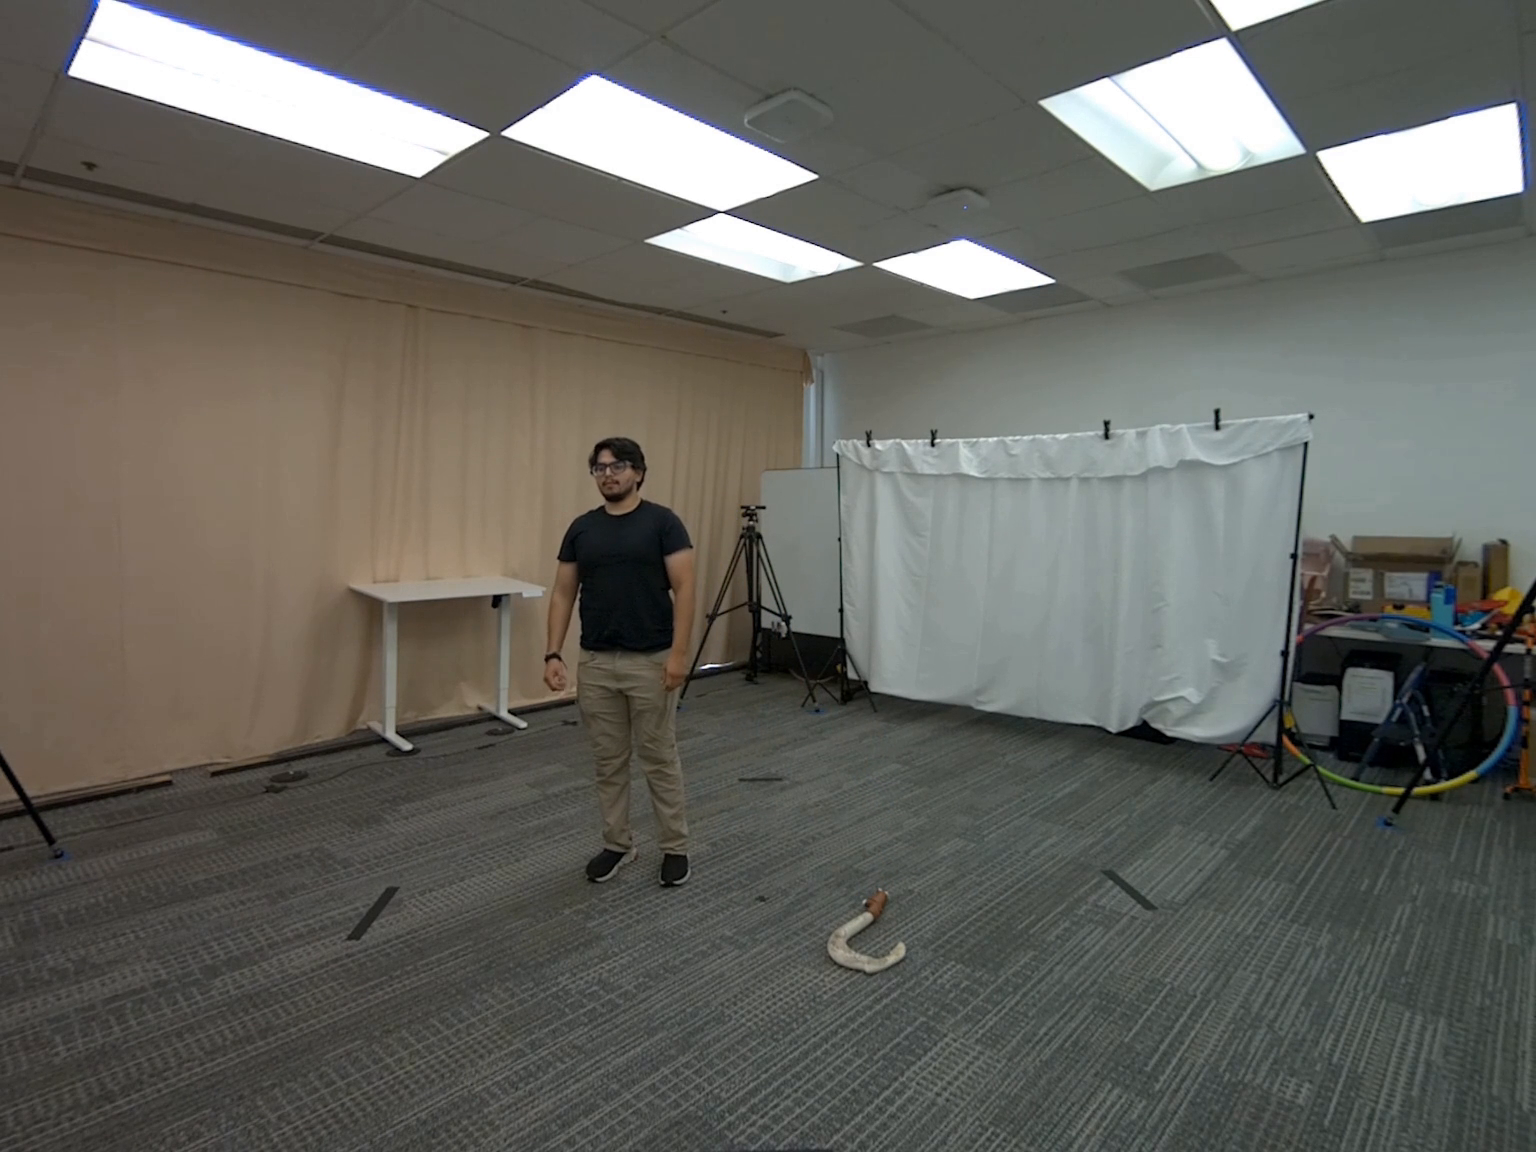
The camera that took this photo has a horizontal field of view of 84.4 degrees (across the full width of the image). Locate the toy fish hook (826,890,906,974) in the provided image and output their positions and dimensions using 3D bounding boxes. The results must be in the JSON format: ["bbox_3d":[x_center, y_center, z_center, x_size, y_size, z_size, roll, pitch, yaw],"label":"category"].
[{"bbox_3d":[0.360,1.146,2.733,0.231,0.048,0.495,9,9,24],"label":"toy fish hook"}]
